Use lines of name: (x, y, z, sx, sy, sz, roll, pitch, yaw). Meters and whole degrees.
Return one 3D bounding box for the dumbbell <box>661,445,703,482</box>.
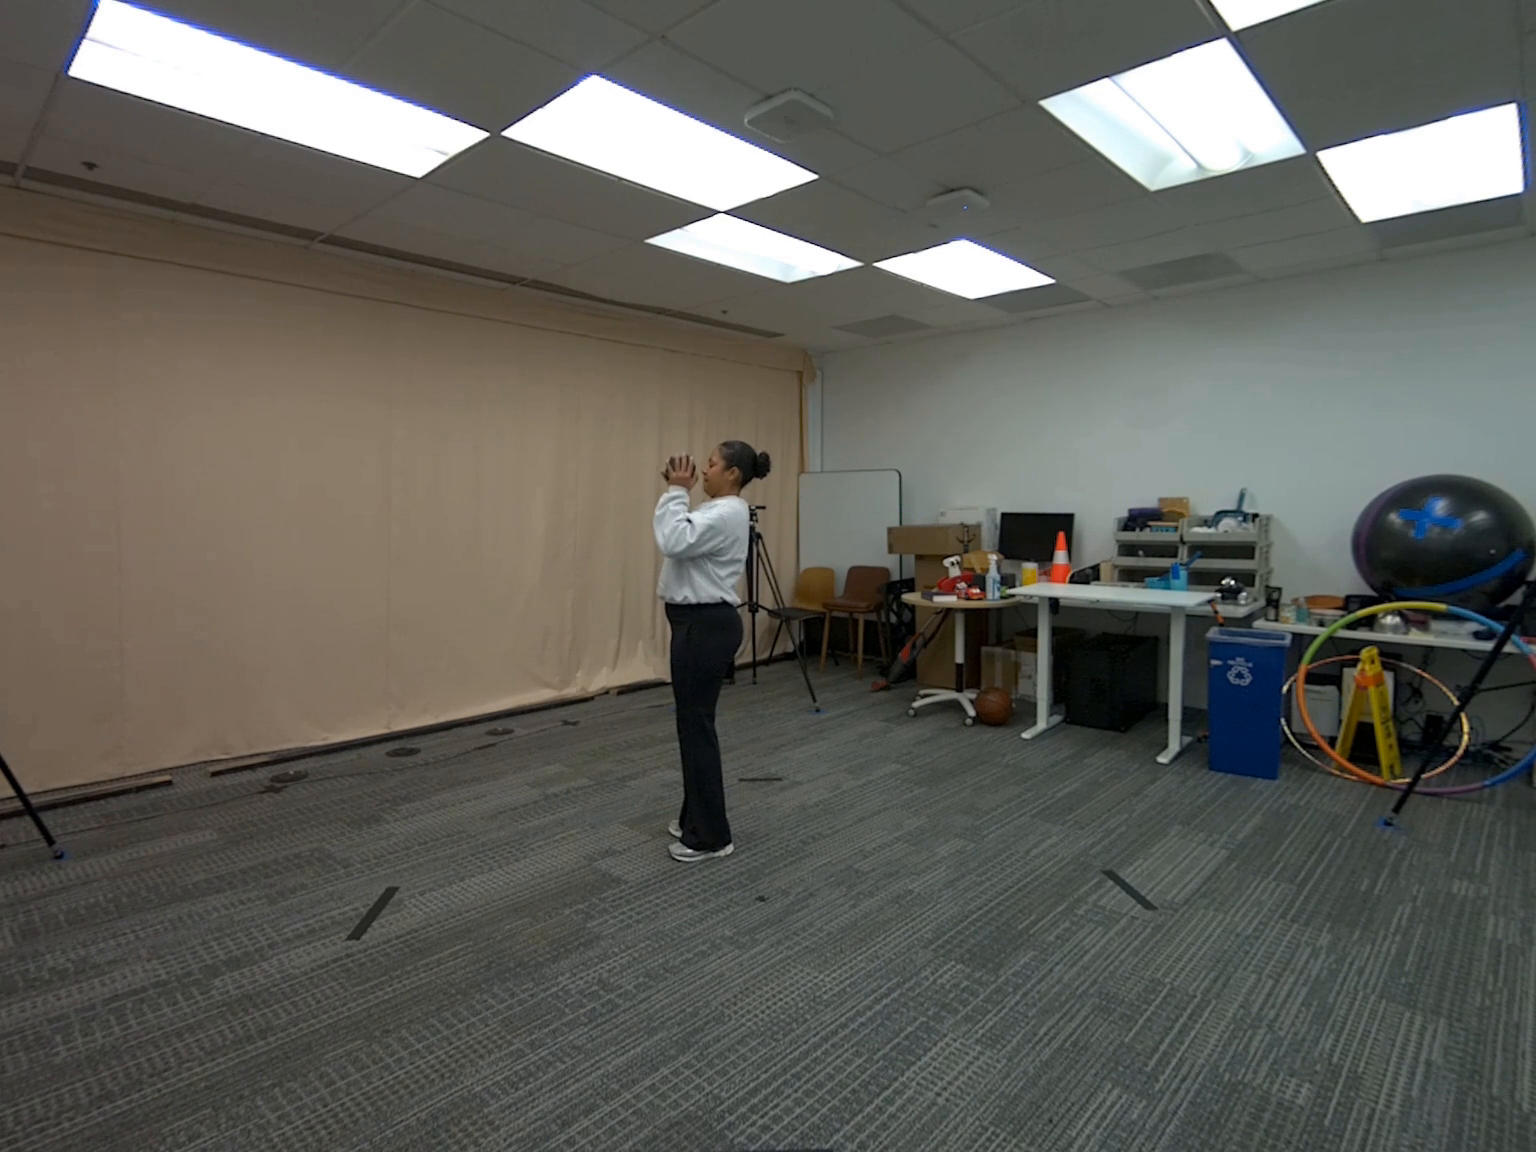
dumbbell: (-0.343, -0.430, 3.411, 0.108, 0.123, 0.294, -38, 4, -2)
